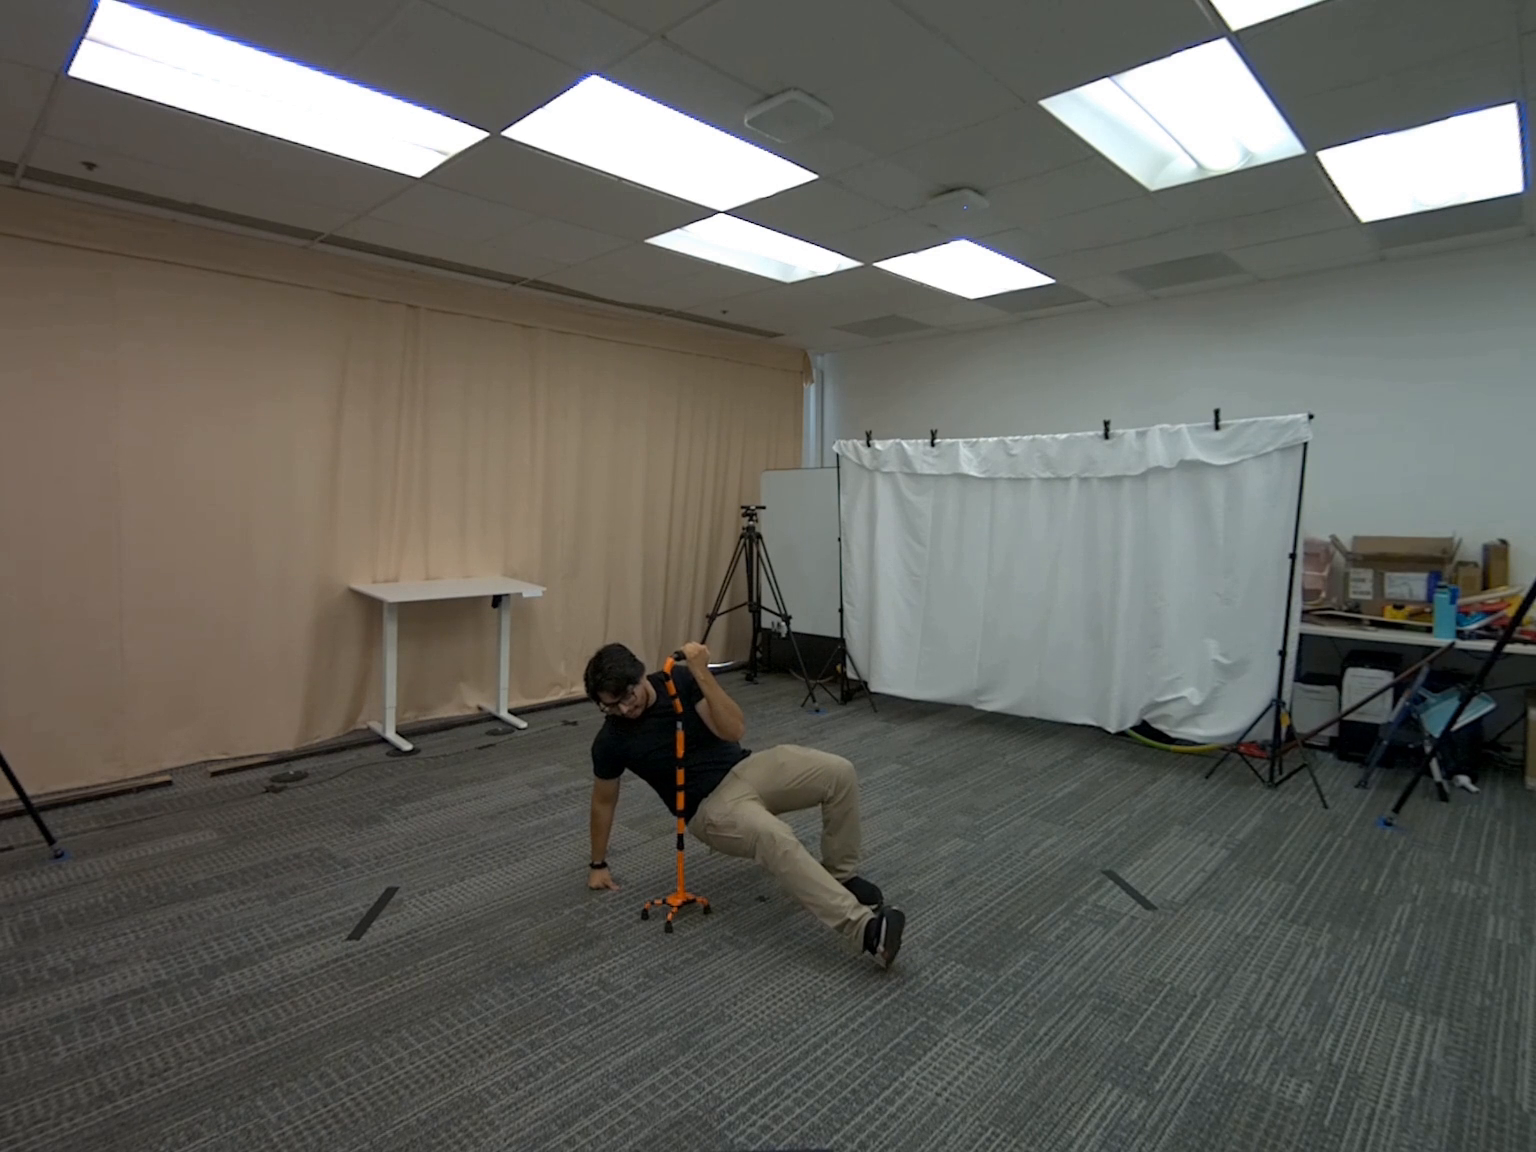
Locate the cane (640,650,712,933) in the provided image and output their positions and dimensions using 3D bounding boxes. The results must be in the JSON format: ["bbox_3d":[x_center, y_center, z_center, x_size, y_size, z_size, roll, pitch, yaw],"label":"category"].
[{"bbox_3d":[-0.303,0.709,2.832,0.157,0.906,0.200,5,5,44],"label":"cane"}]
